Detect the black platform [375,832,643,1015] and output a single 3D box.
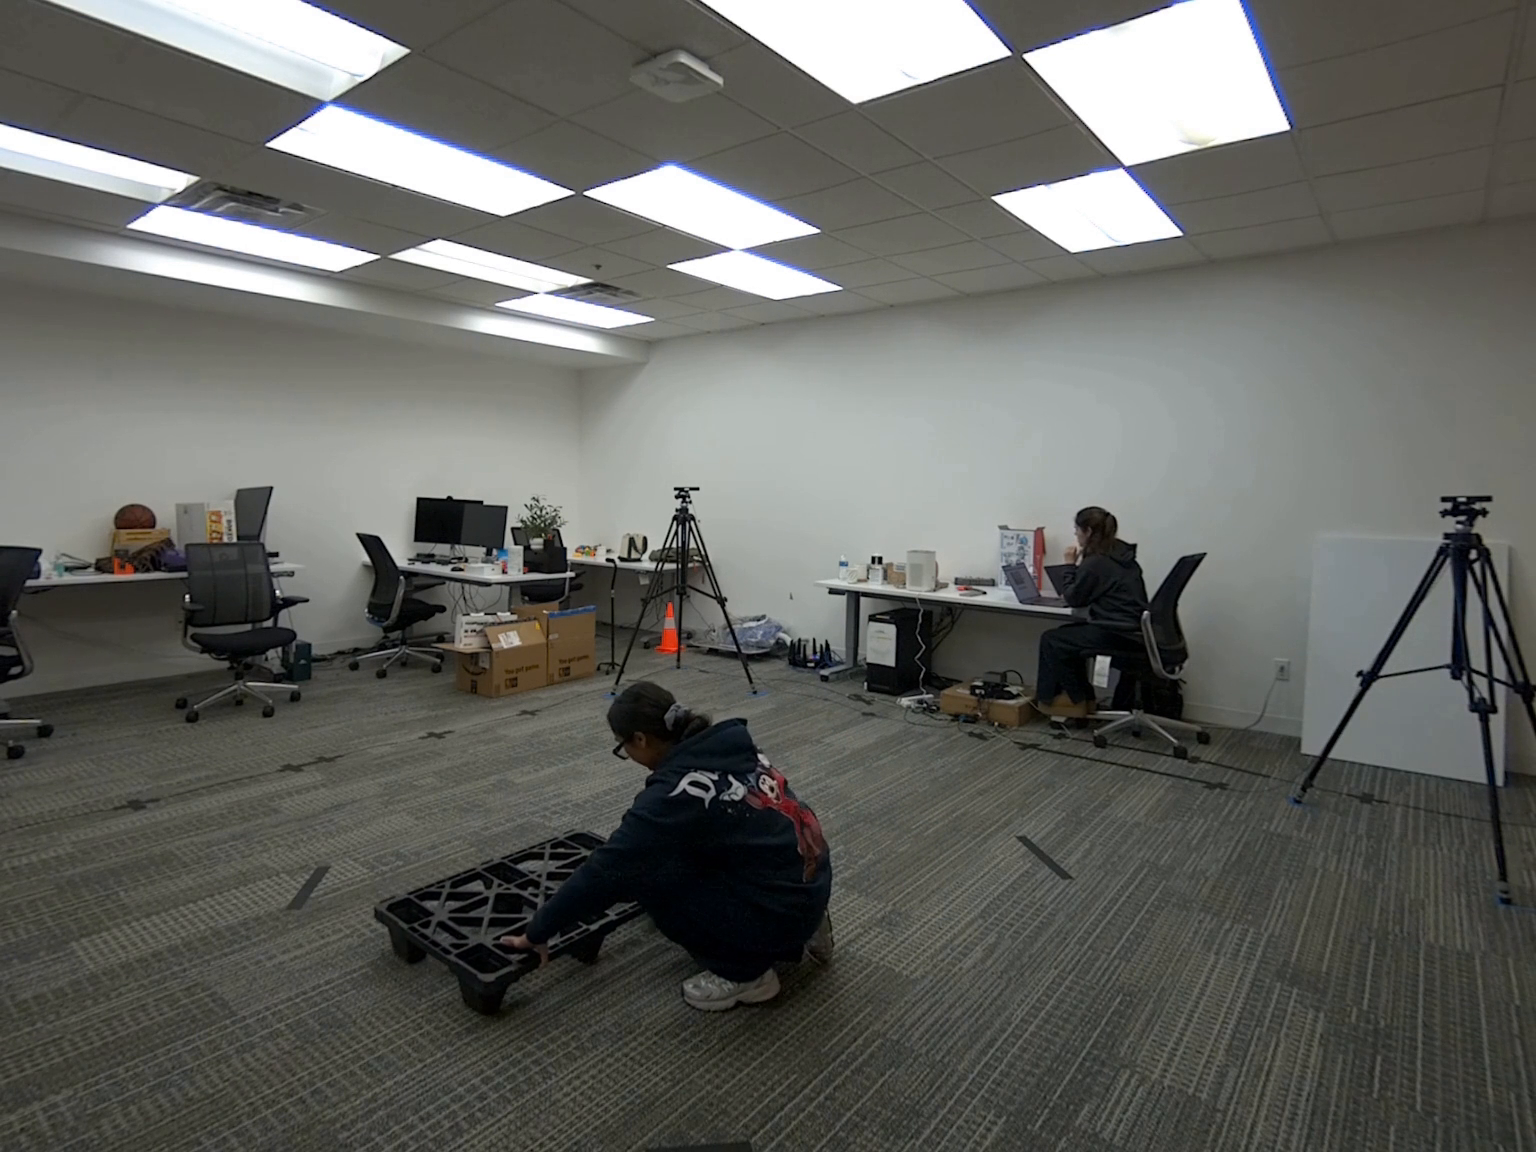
[{"bbox_3d":[-0.706,1.038,2.643,0.625,0.143,0.782,5,8,38],"label":"black platform"}]
